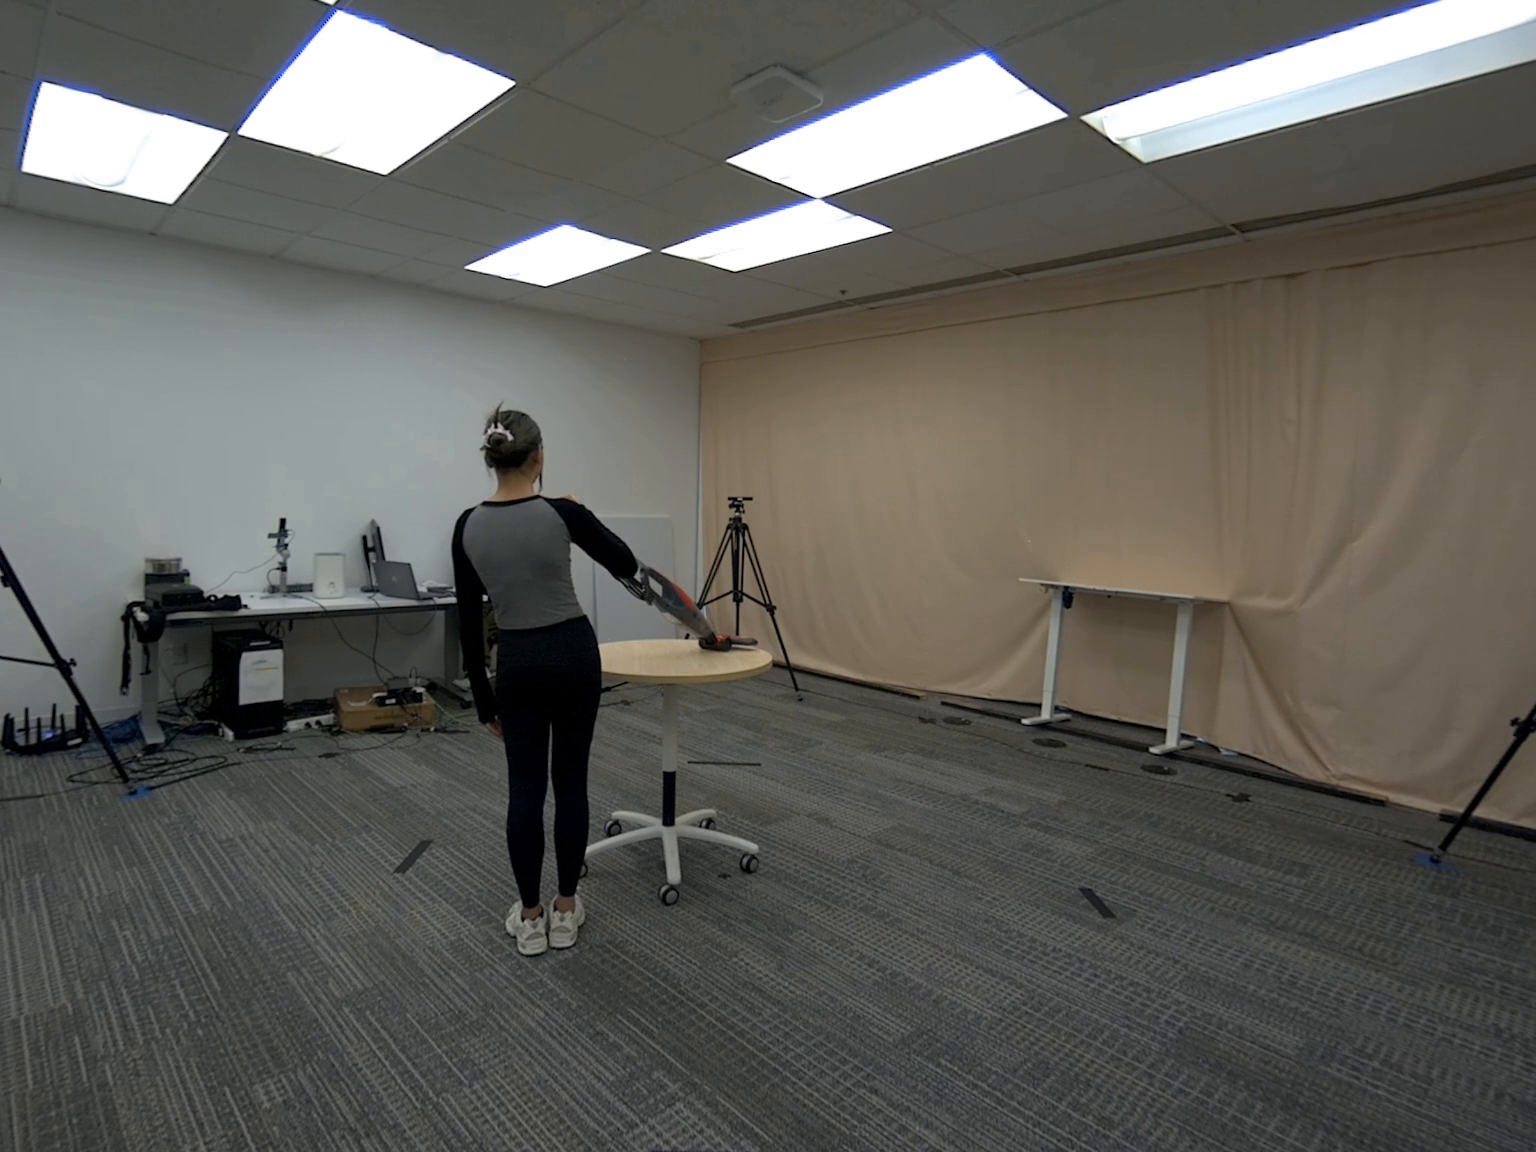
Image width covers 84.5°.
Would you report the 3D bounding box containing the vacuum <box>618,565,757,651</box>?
[{"bbox_3d":[-0.442,0.027,3.030,0.258,0.145,1.016,0,-30,35],"label":"vacuum"}]
